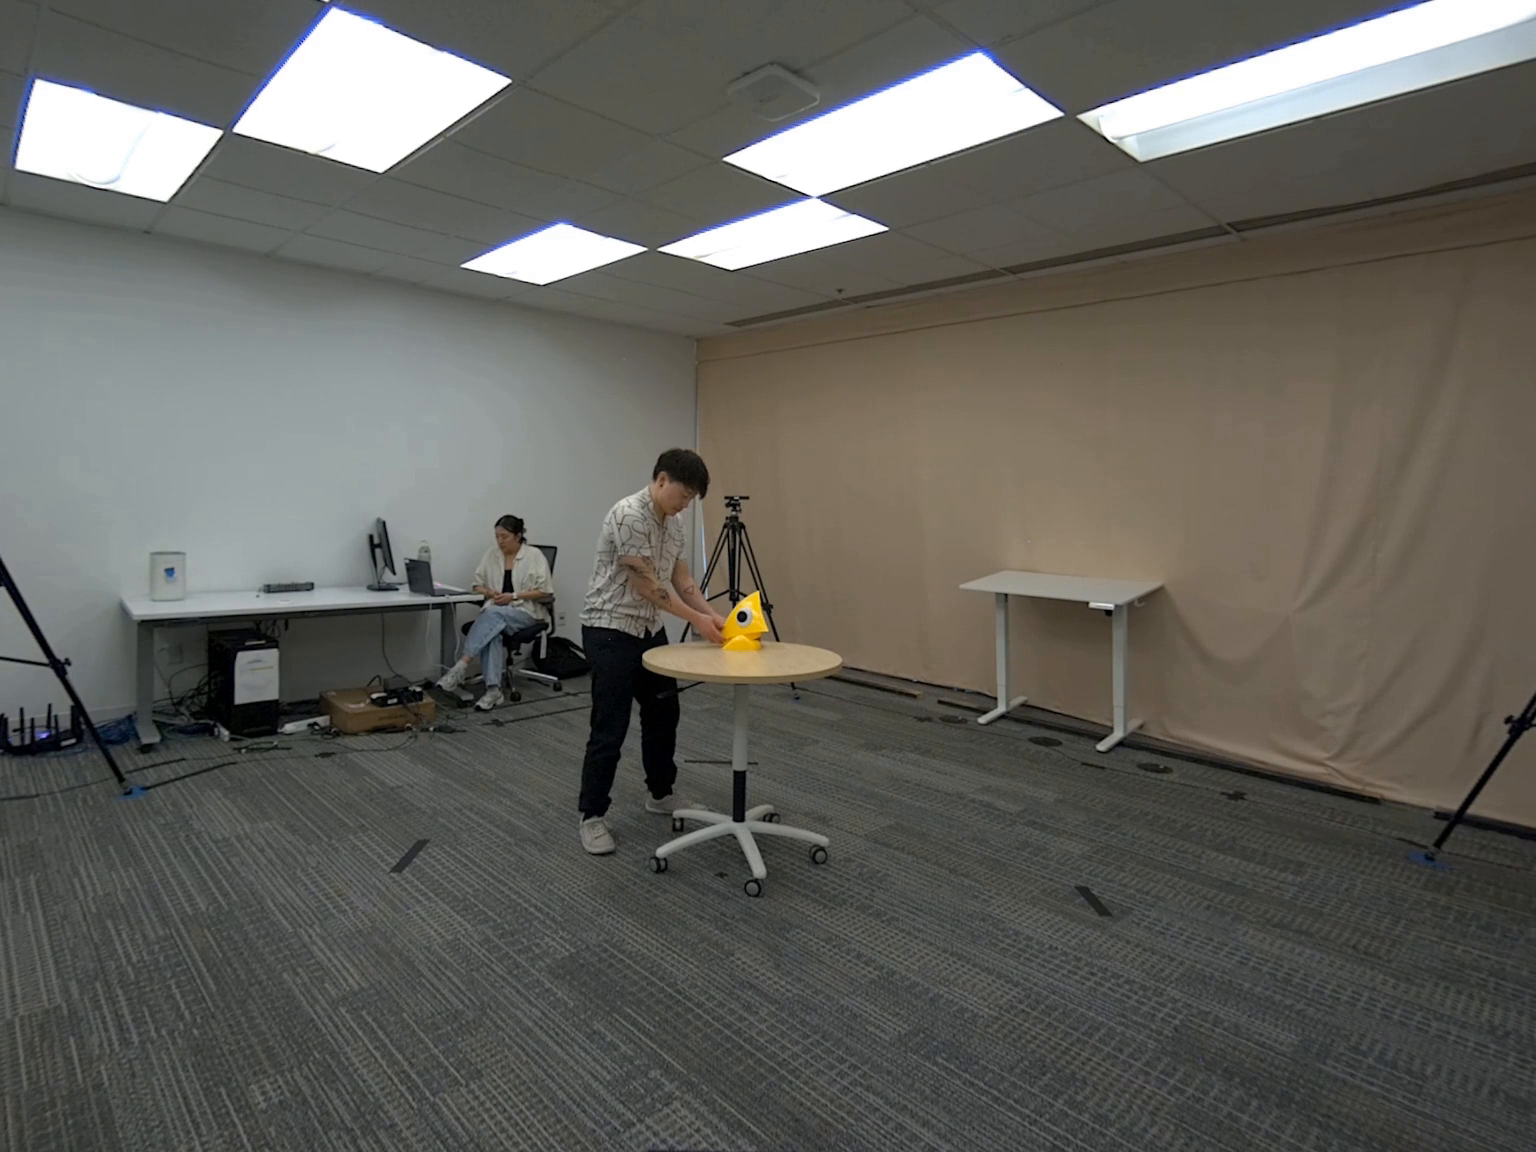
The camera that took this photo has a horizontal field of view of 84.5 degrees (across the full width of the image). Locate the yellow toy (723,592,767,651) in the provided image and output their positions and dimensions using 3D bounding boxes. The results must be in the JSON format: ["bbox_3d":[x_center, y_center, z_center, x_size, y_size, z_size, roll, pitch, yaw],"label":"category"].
[{"bbox_3d":[-0.112,0.175,3.464,0.192,0.230,0.206,1,4,-7],"label":"yellow toy"}]
